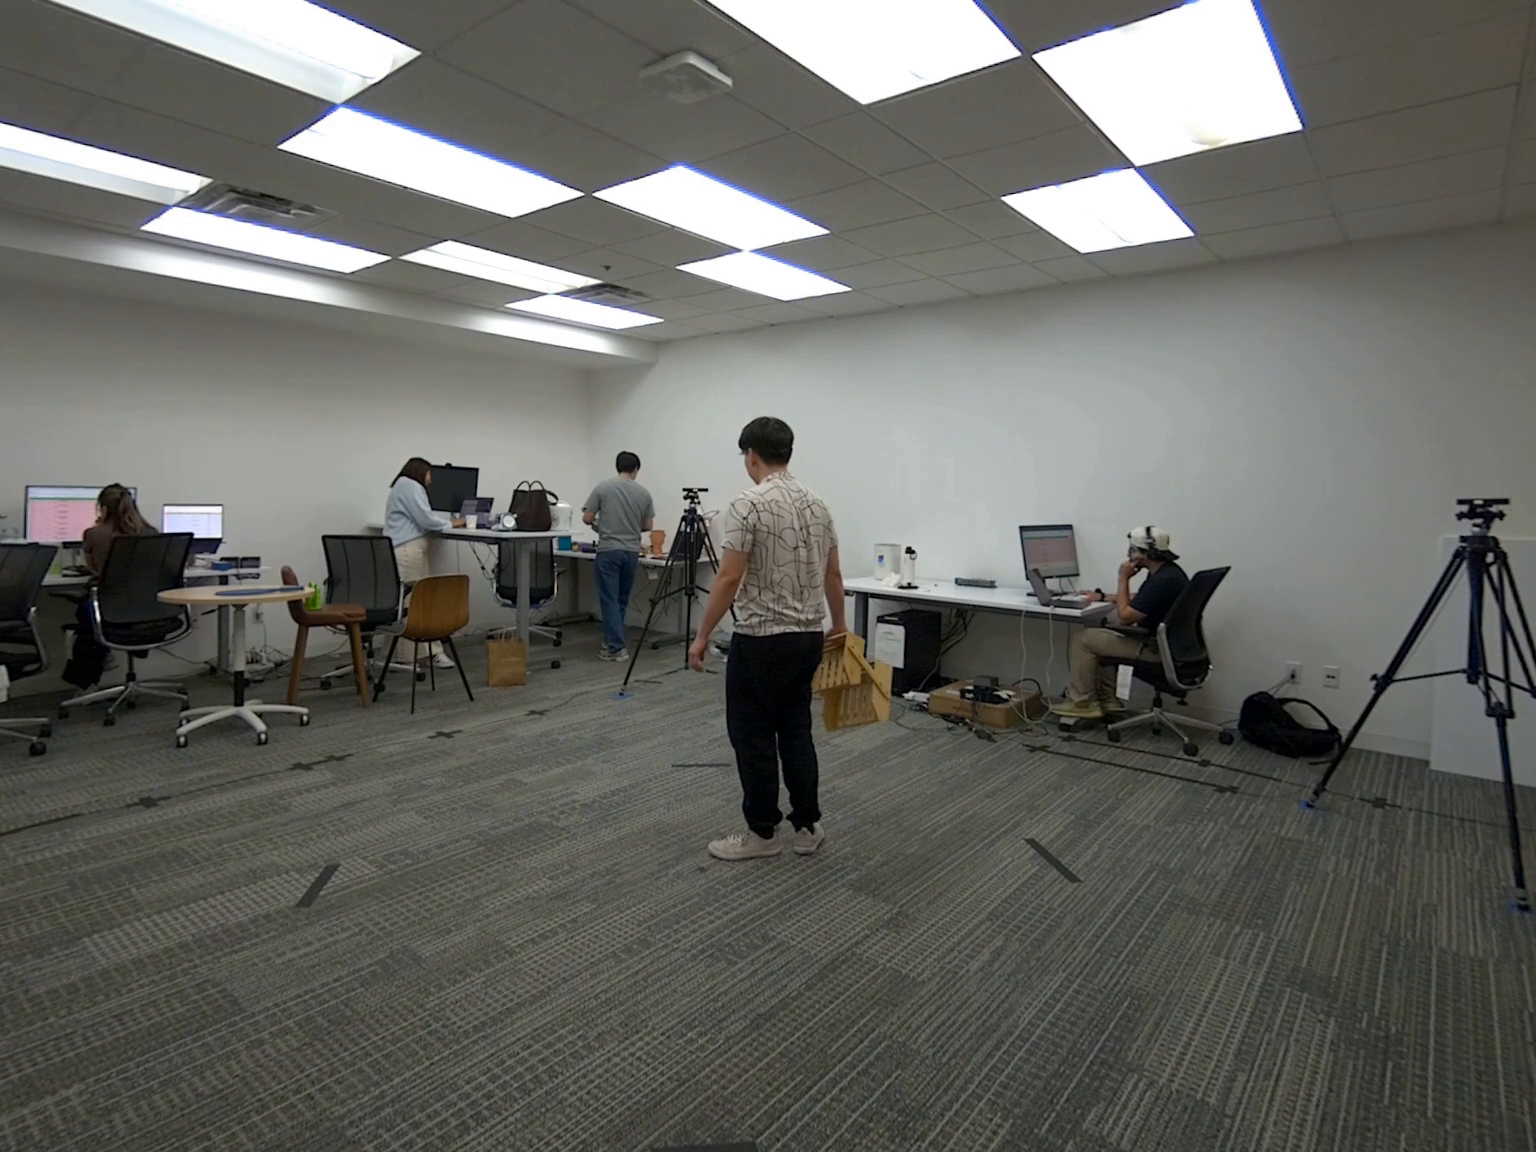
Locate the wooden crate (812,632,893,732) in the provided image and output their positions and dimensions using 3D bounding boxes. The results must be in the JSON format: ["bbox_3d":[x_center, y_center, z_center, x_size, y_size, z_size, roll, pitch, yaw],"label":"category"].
[{"bbox_3d":[0.285,0.441,3.478,0.264,0.307,0.329,29,-33,-28],"label":"wooden crate"}]
